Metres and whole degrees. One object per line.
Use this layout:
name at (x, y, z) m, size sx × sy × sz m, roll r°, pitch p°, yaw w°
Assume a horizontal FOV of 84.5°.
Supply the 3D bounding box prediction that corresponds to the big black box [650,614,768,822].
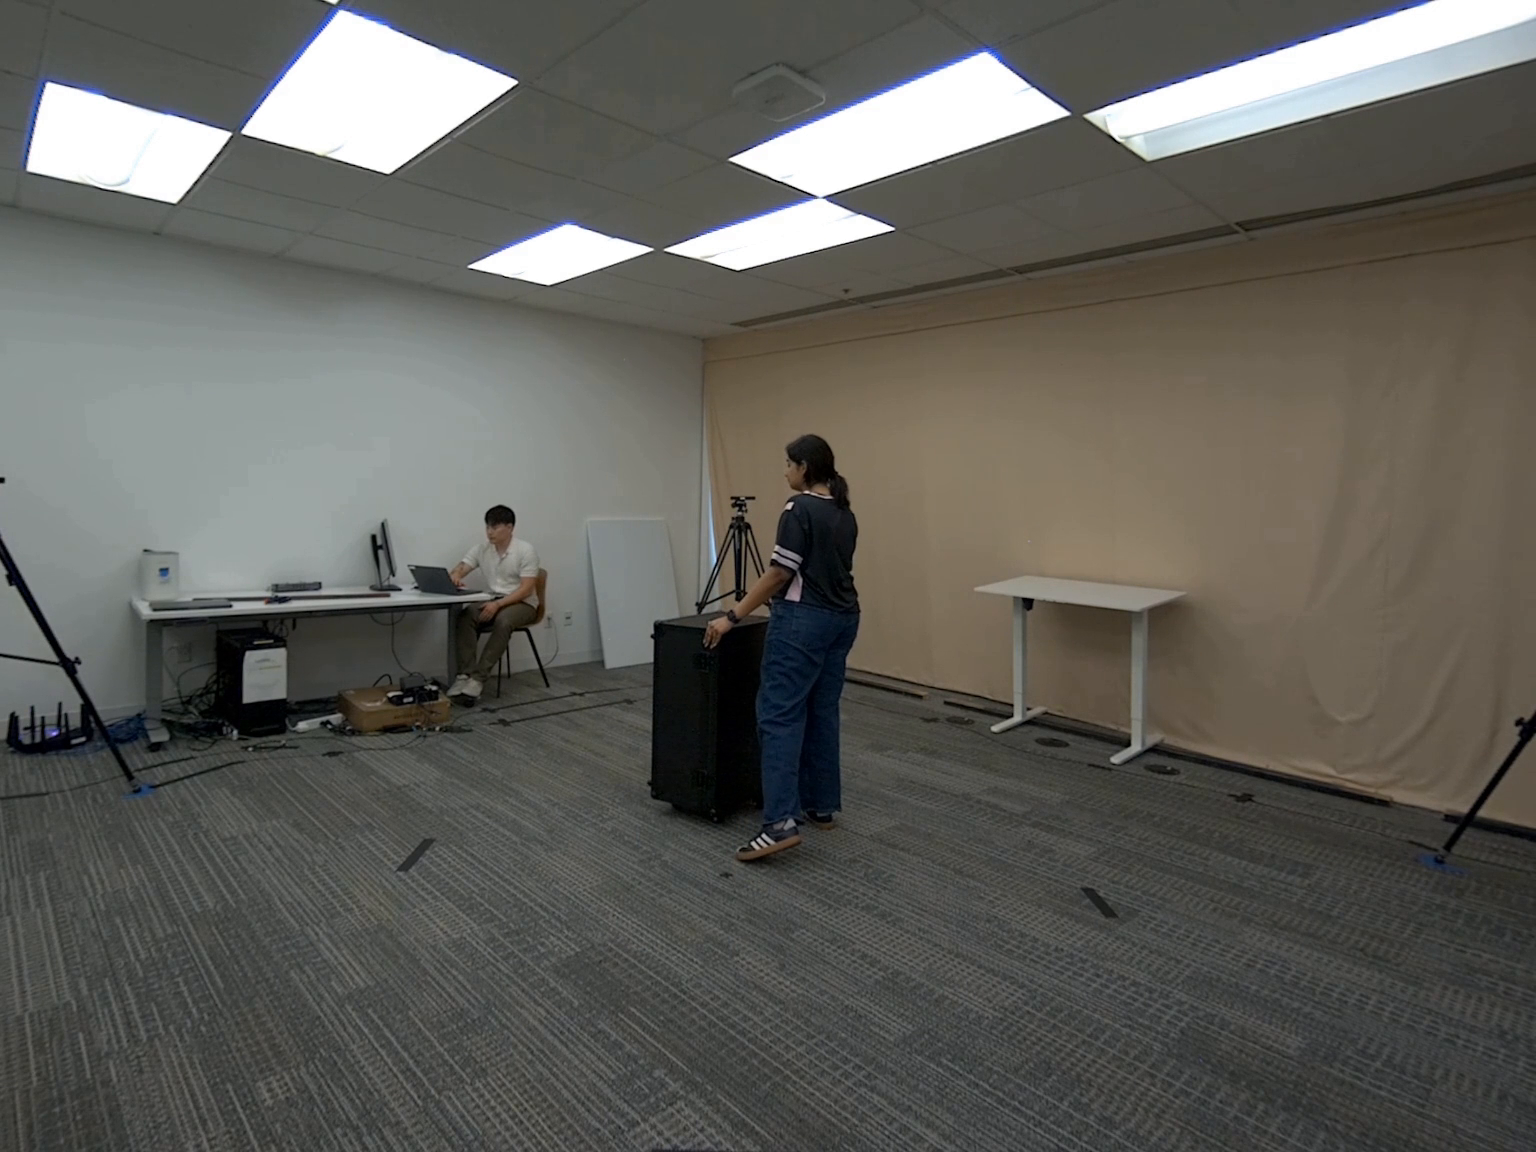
big black box at (-0.249, 0.624, 3.768) m, size 0.394 × 0.866 × 0.513 m, roll 3°, pitch 4°, yaw 32°
